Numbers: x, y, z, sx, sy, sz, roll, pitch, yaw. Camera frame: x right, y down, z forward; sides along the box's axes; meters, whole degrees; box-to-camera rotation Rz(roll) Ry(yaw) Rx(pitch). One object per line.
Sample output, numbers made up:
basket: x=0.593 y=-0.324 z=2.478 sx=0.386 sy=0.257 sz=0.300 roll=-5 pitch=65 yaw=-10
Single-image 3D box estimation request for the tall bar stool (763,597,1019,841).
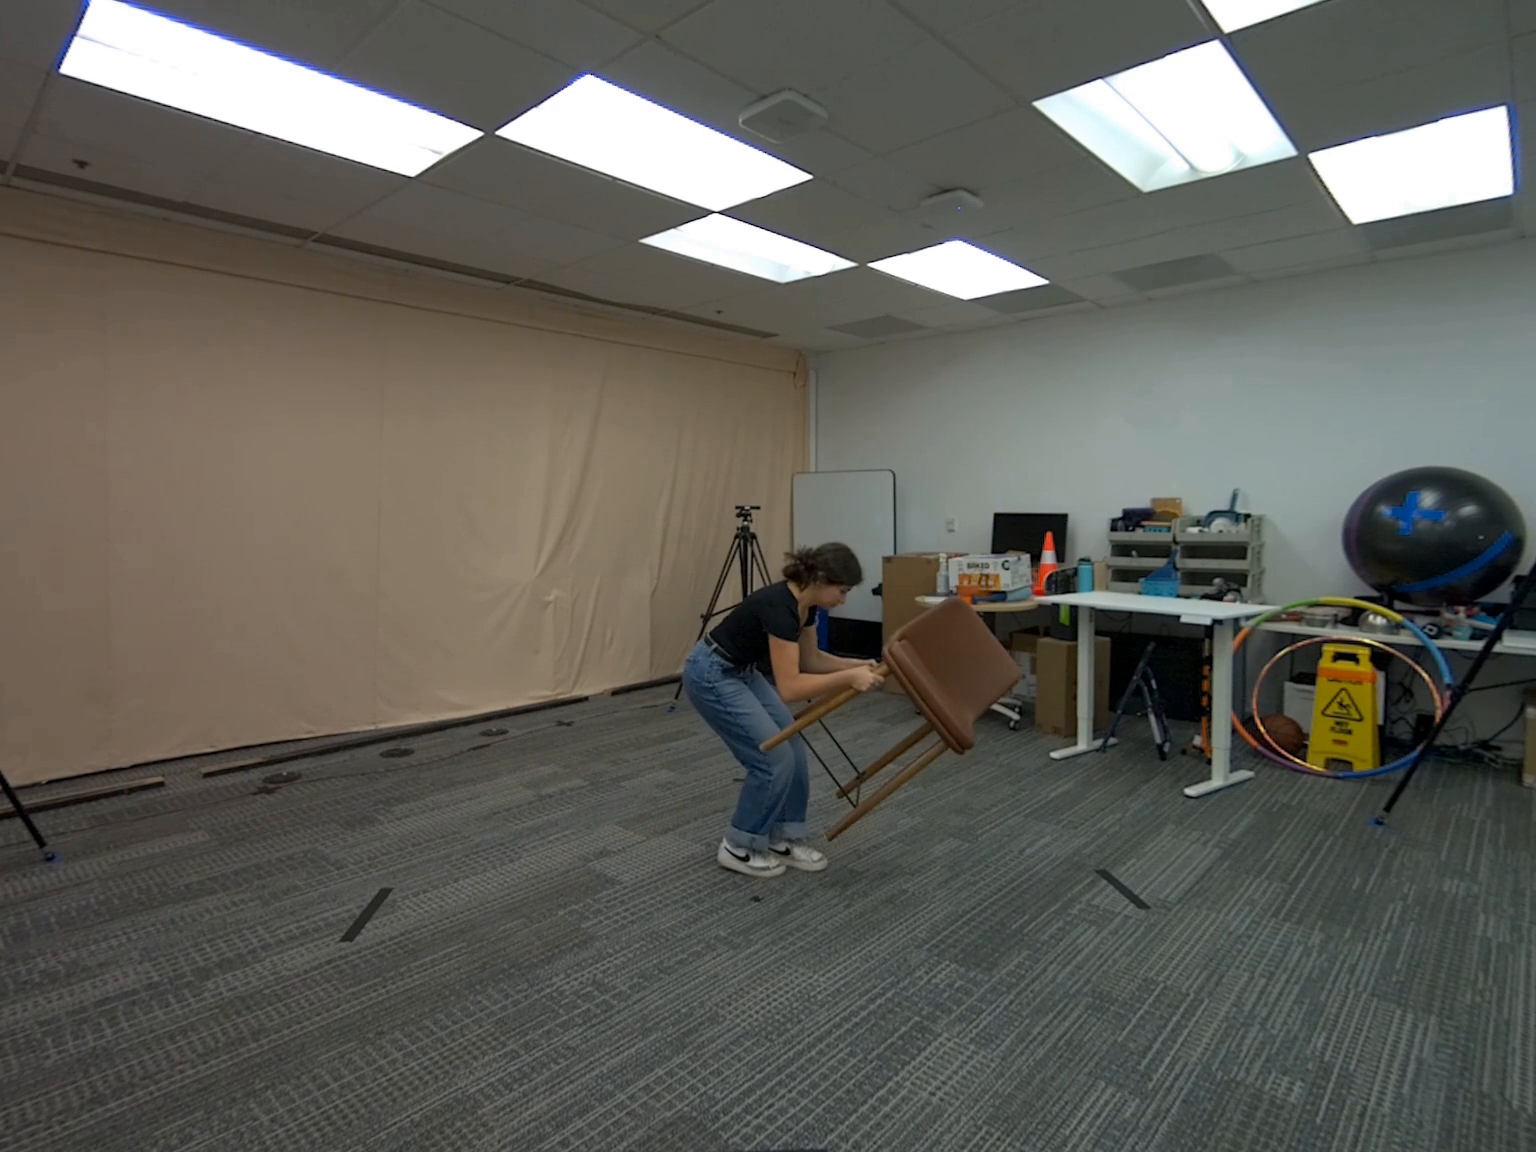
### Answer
tall bar stool: x=0.478 y=0.498 z=3.088 sx=0.894 sy=0.460 sz=0.462 roll=-37 pitch=-5 yaw=11
